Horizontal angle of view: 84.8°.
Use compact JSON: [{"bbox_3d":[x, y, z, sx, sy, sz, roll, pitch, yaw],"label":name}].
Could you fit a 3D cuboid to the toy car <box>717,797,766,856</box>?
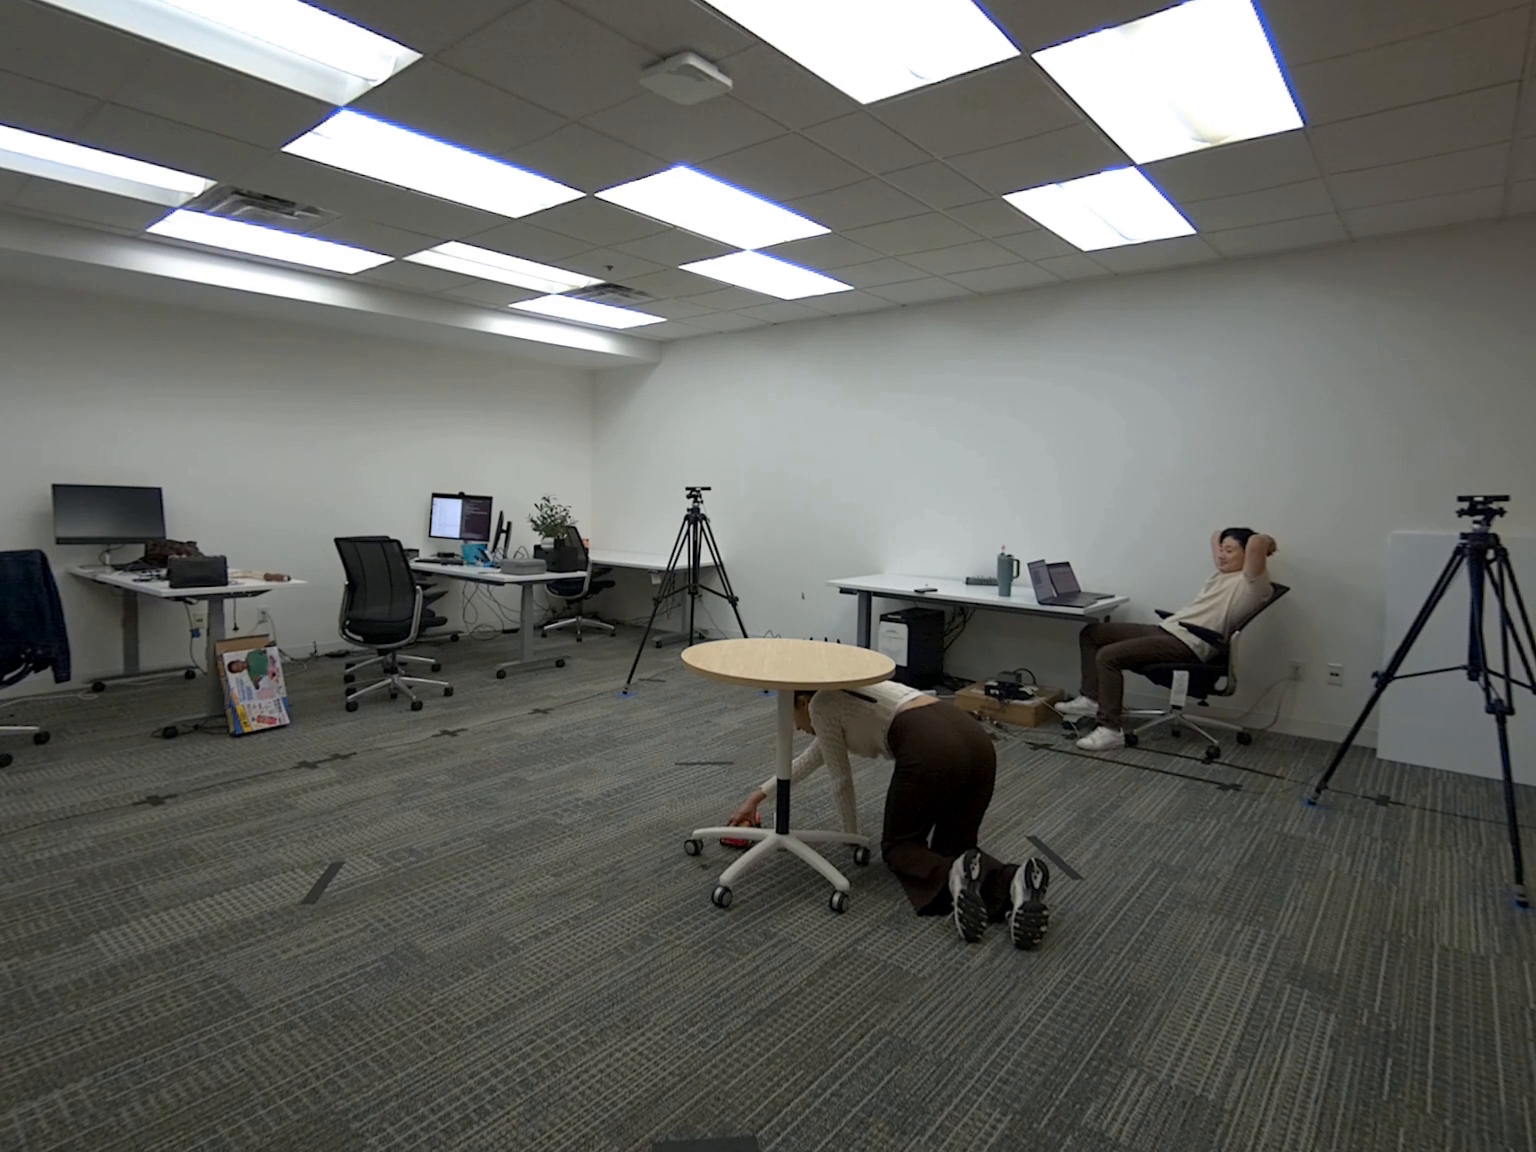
[{"bbox_3d":[-0.105,1.006,3.392,0.132,0.082,0.254,2,17,14],"label":"toy car"}]
